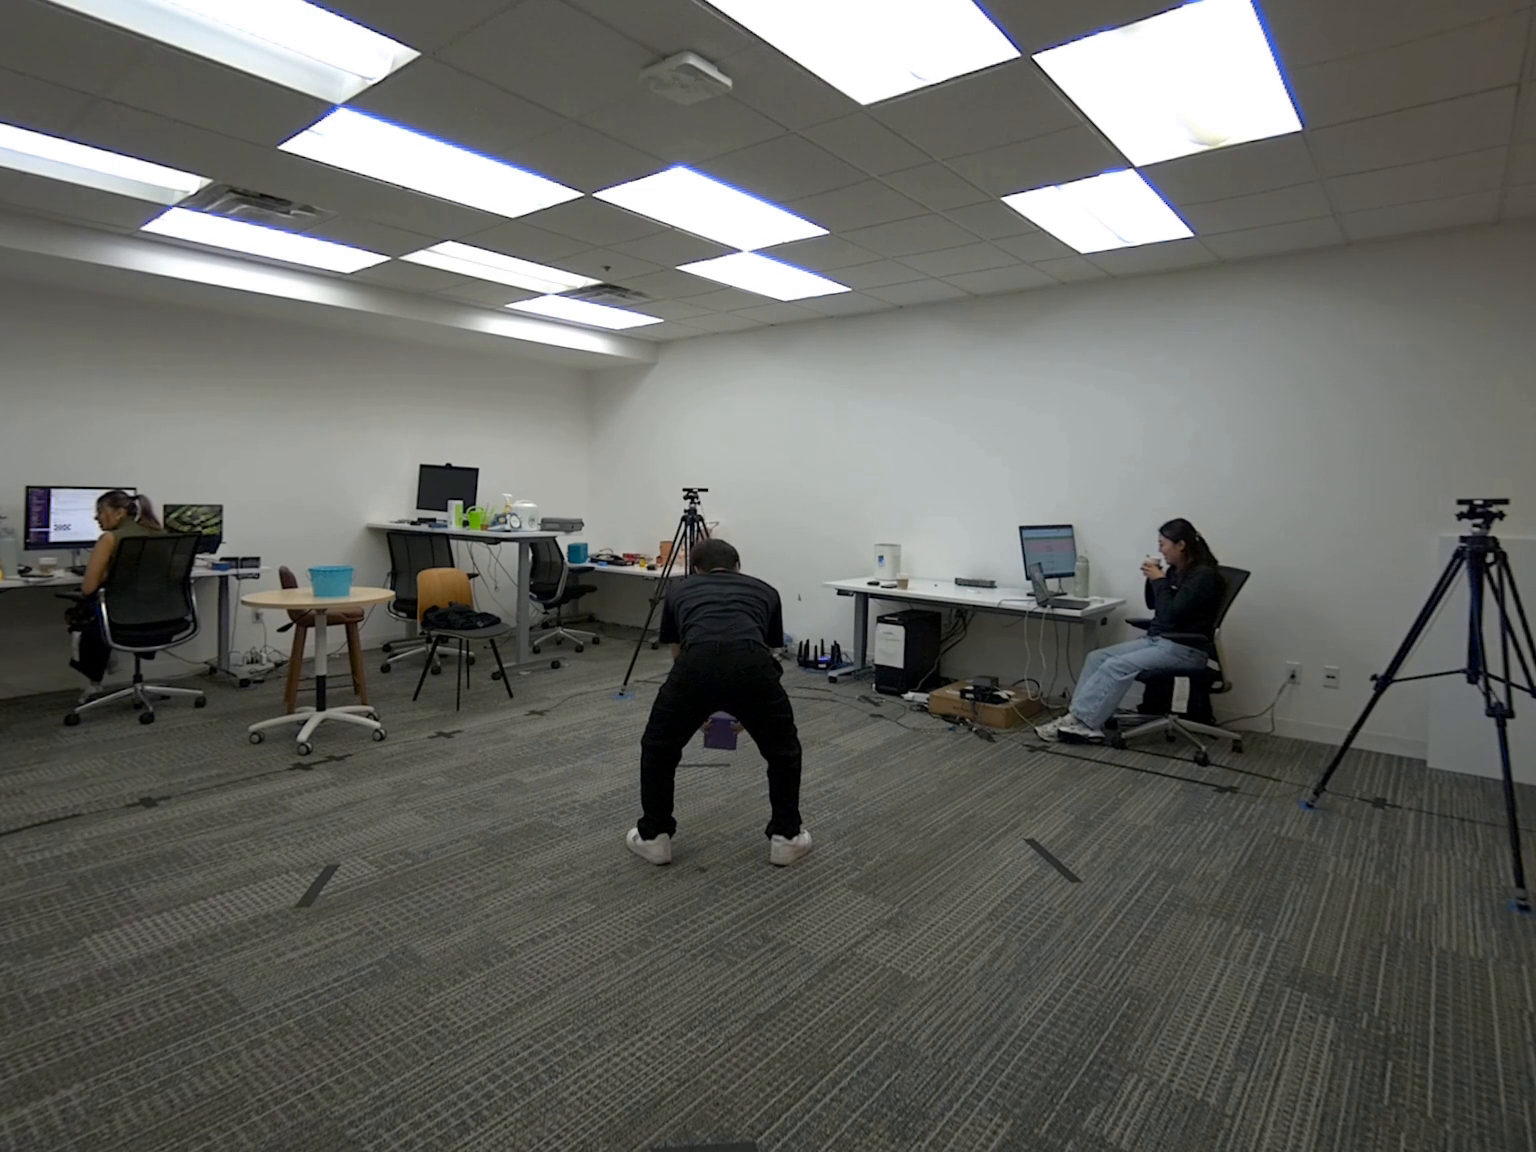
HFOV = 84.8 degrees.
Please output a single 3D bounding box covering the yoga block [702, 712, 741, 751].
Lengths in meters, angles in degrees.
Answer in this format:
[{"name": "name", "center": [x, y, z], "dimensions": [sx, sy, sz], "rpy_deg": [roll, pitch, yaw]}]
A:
[{"name": "yoga block", "center": [-0.217, 0.658, 3.713], "dimensions": [0.149, 0.223, 0.078], "rpy_deg": [5, 39, 1]}]
